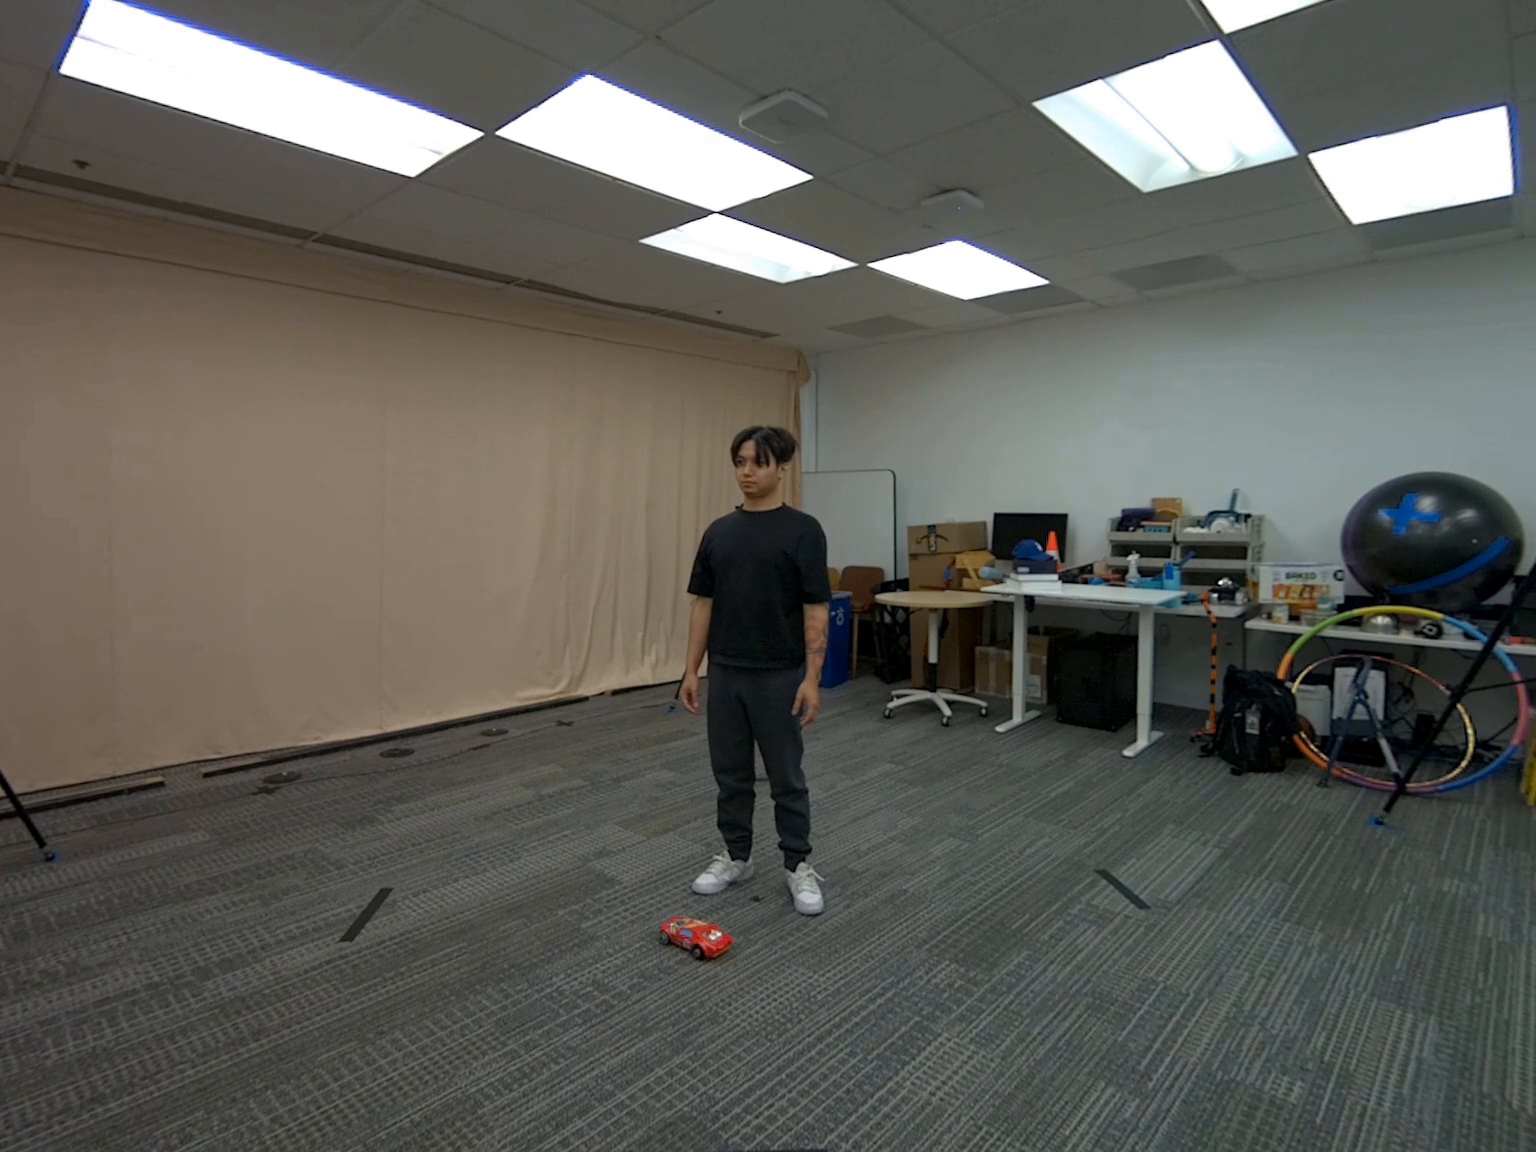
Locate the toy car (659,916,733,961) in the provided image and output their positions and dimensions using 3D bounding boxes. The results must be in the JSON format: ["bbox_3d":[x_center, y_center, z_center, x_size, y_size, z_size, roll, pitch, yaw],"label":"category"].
[{"bbox_3d":[-0.224,1.140,2.654,0.262,0.083,0.126,-9,-3,40],"label":"toy car"}]
